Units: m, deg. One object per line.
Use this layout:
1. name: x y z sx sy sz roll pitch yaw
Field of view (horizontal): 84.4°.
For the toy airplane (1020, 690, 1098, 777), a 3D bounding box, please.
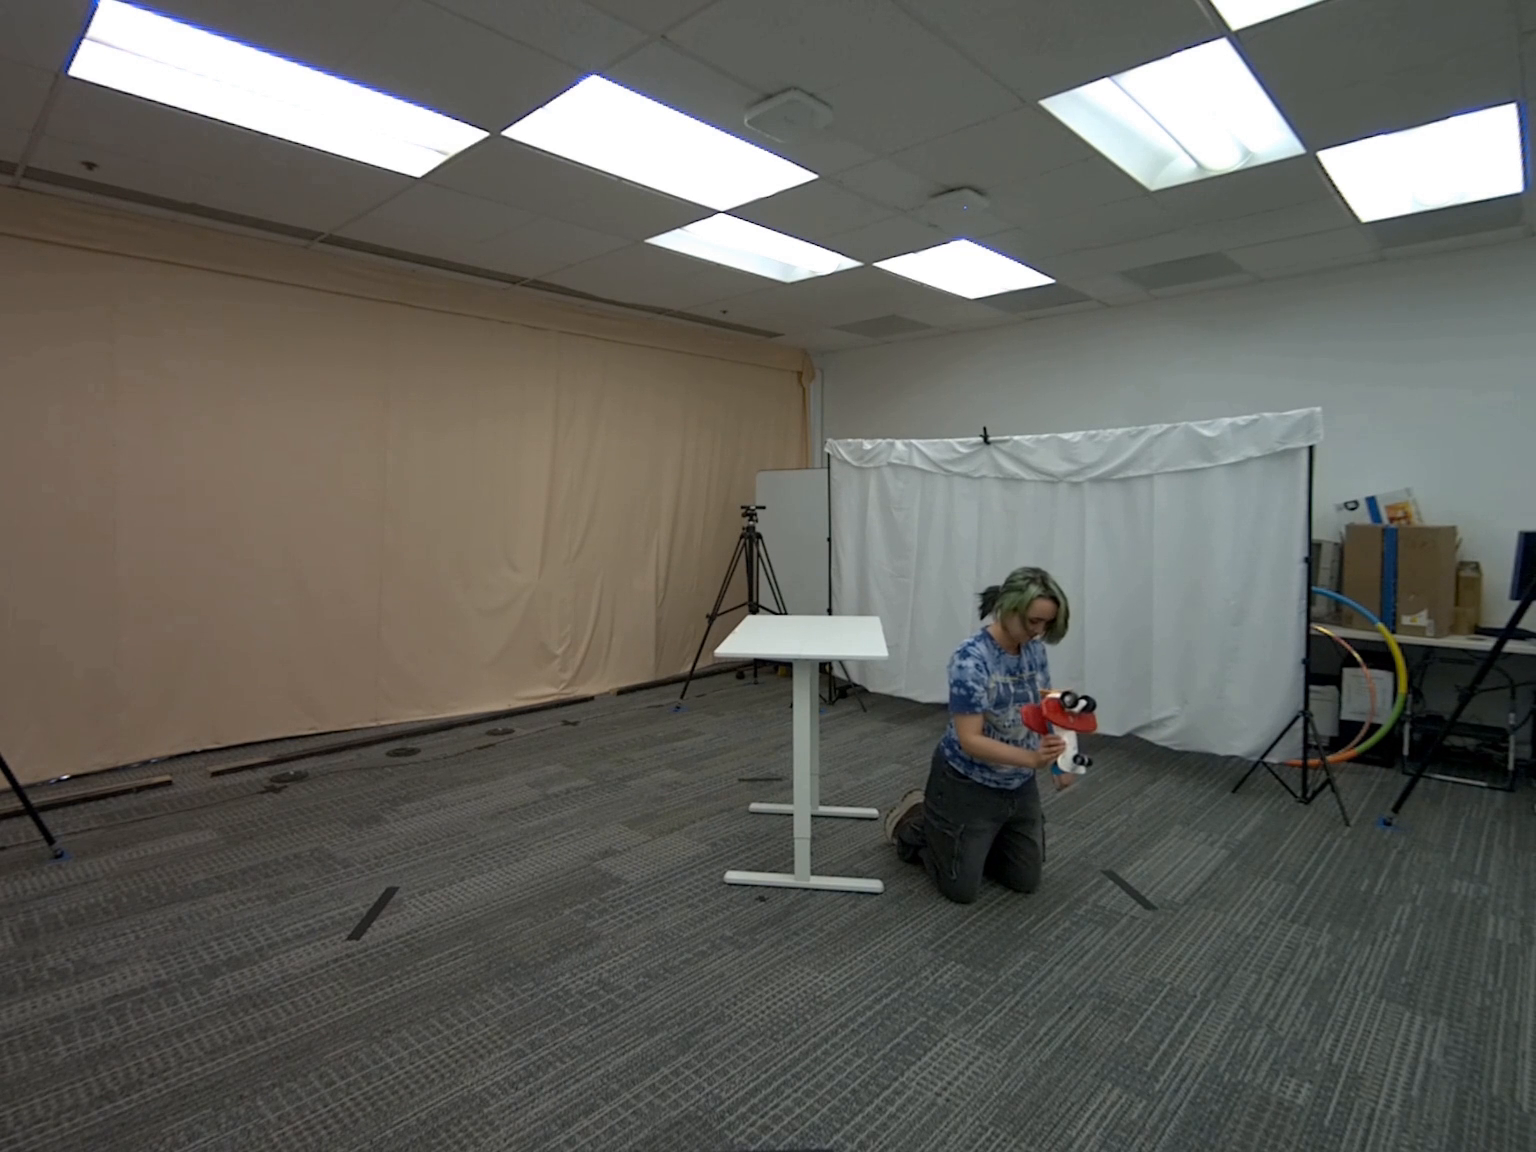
1. toy airplane: 0.904 0.475 2.609 0.246 0.259 0.160 42 -31 -18
